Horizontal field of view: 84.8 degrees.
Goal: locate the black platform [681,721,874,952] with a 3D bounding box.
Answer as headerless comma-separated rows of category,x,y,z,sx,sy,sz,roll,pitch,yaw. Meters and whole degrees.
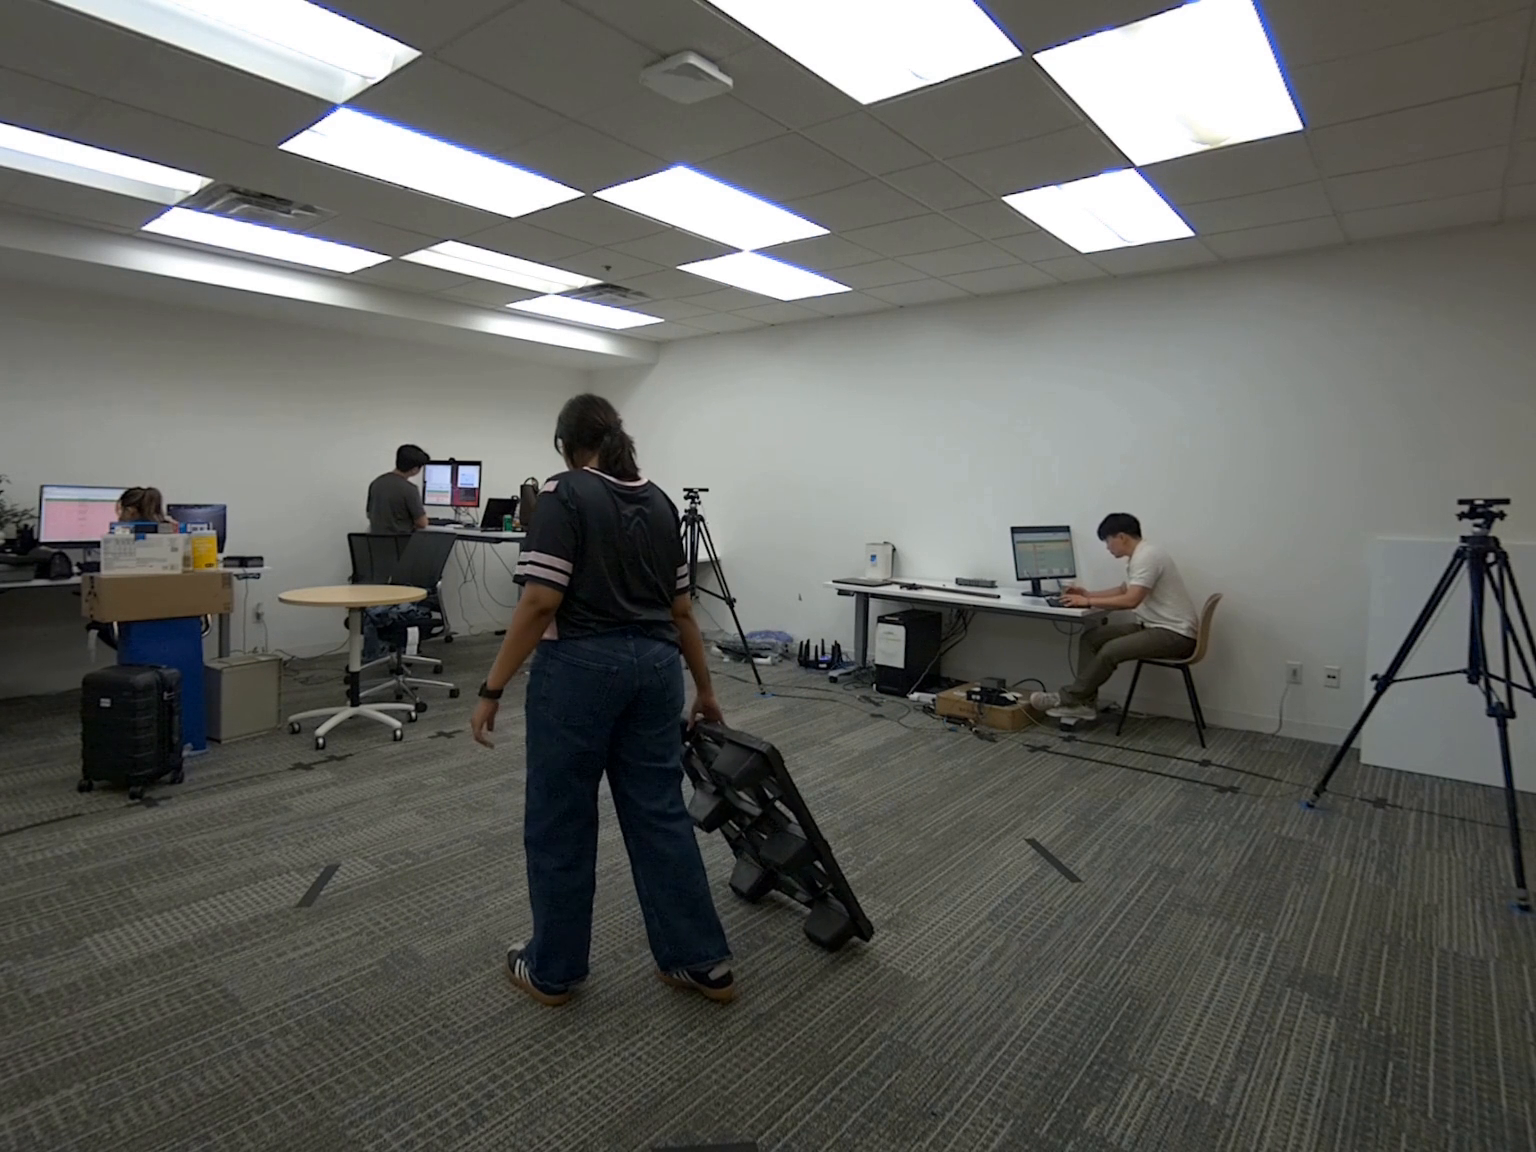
black platform,-0.068,0.776,2.633,0.142,0.783,0.626,-39,27,-29
